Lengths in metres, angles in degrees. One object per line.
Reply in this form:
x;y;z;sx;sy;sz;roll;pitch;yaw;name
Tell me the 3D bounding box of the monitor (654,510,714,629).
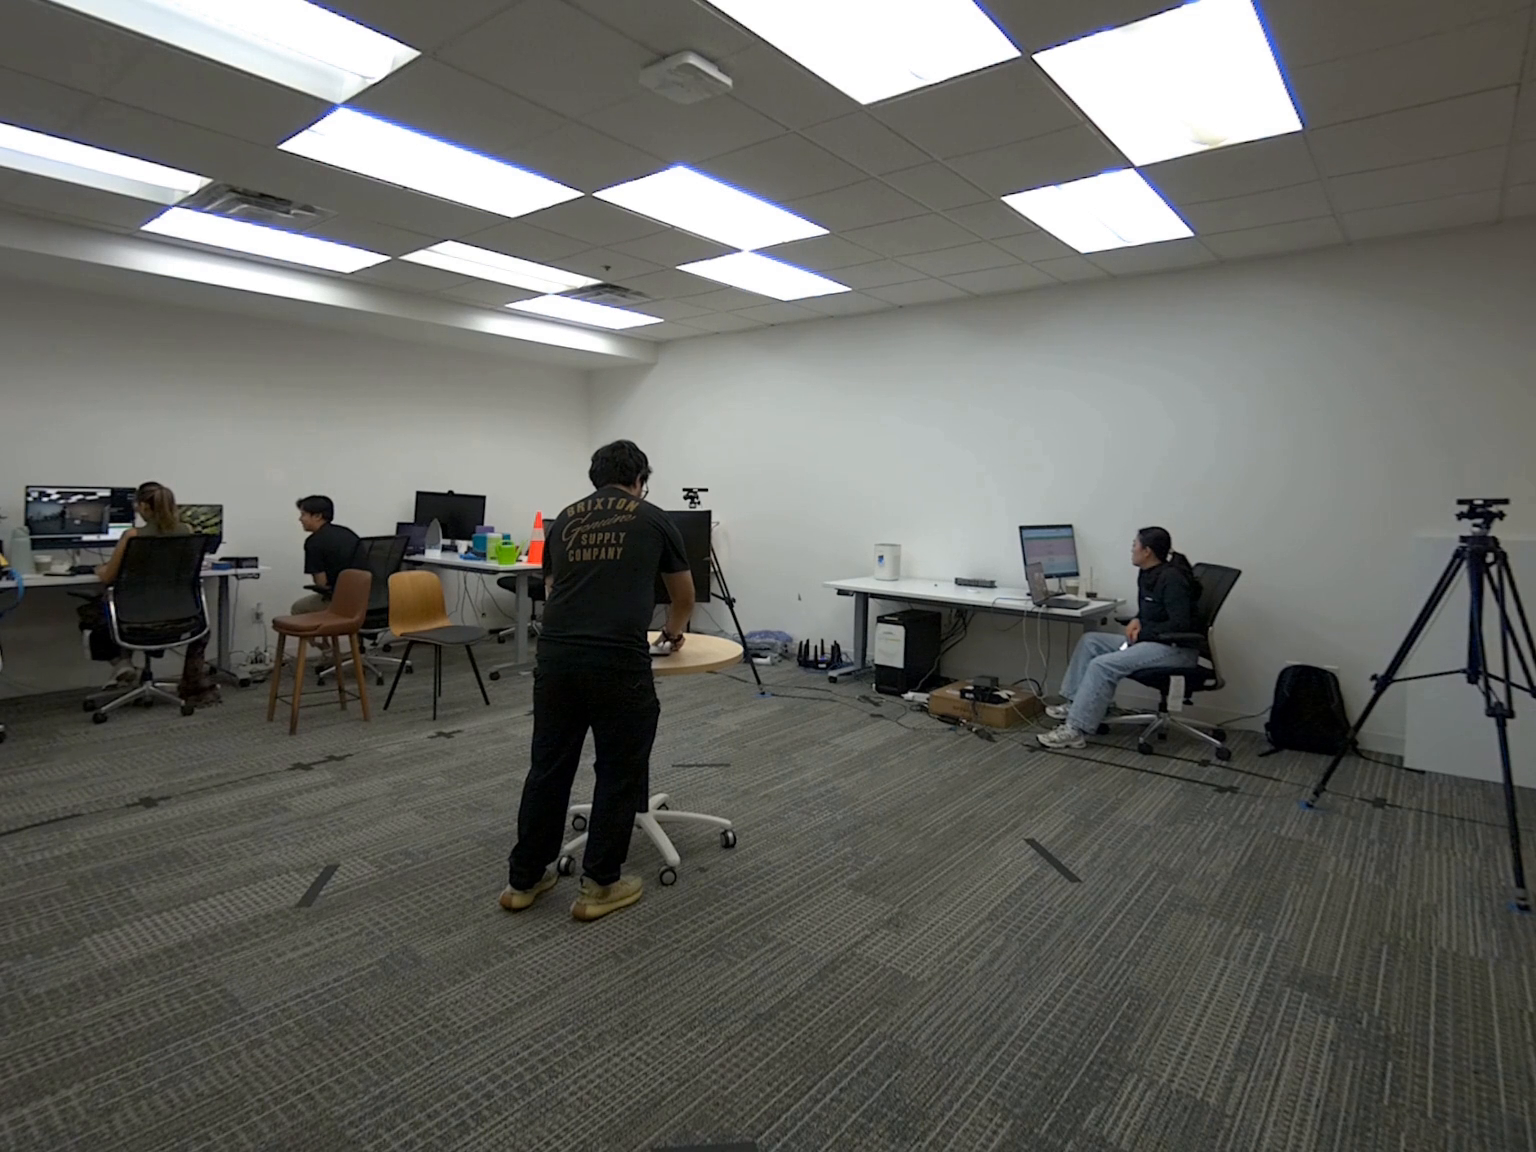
-0.493;0.022;3.147;0.561;0.551;0.212;1;5;-7;monitor
